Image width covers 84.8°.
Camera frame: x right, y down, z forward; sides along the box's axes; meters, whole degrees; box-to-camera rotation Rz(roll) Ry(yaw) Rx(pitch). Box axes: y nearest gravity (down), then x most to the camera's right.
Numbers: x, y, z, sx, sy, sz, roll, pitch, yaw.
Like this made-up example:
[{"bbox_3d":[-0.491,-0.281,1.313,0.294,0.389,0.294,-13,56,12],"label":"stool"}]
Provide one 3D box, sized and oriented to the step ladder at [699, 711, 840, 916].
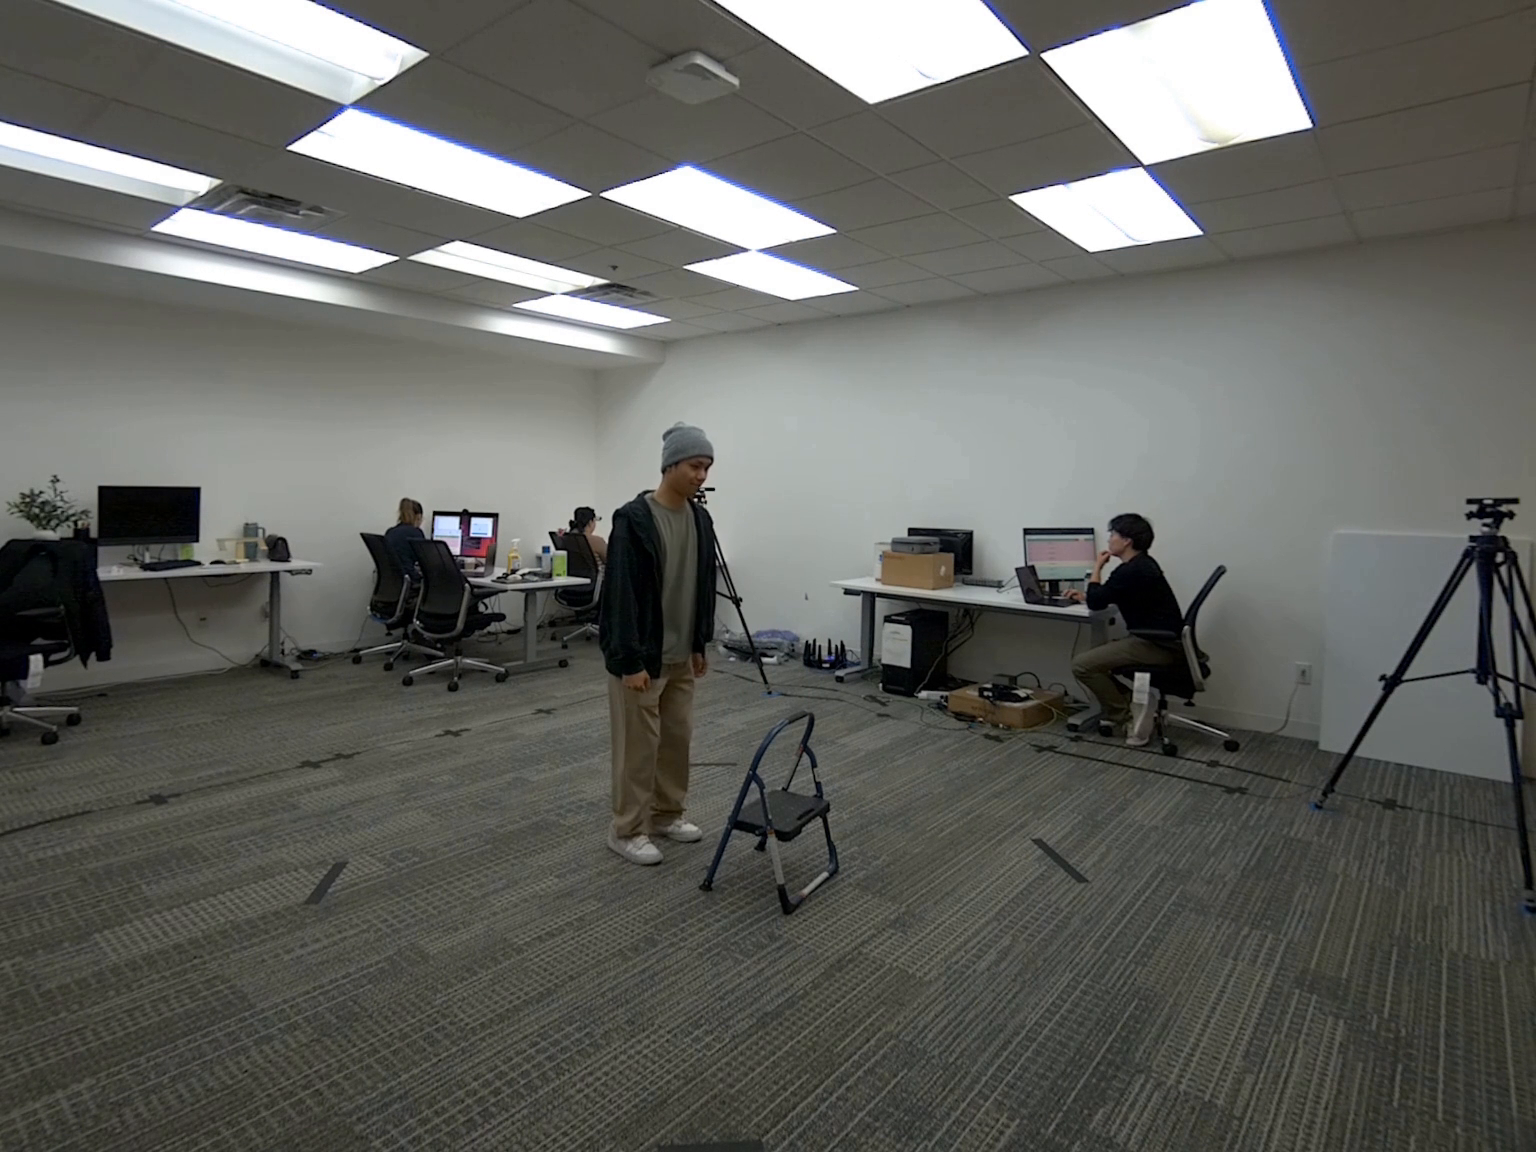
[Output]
[{"bbox_3d":[0.014,0.777,3.017,0.359,0.604,0.420,3,4,29],"label":"step ladder"}]
